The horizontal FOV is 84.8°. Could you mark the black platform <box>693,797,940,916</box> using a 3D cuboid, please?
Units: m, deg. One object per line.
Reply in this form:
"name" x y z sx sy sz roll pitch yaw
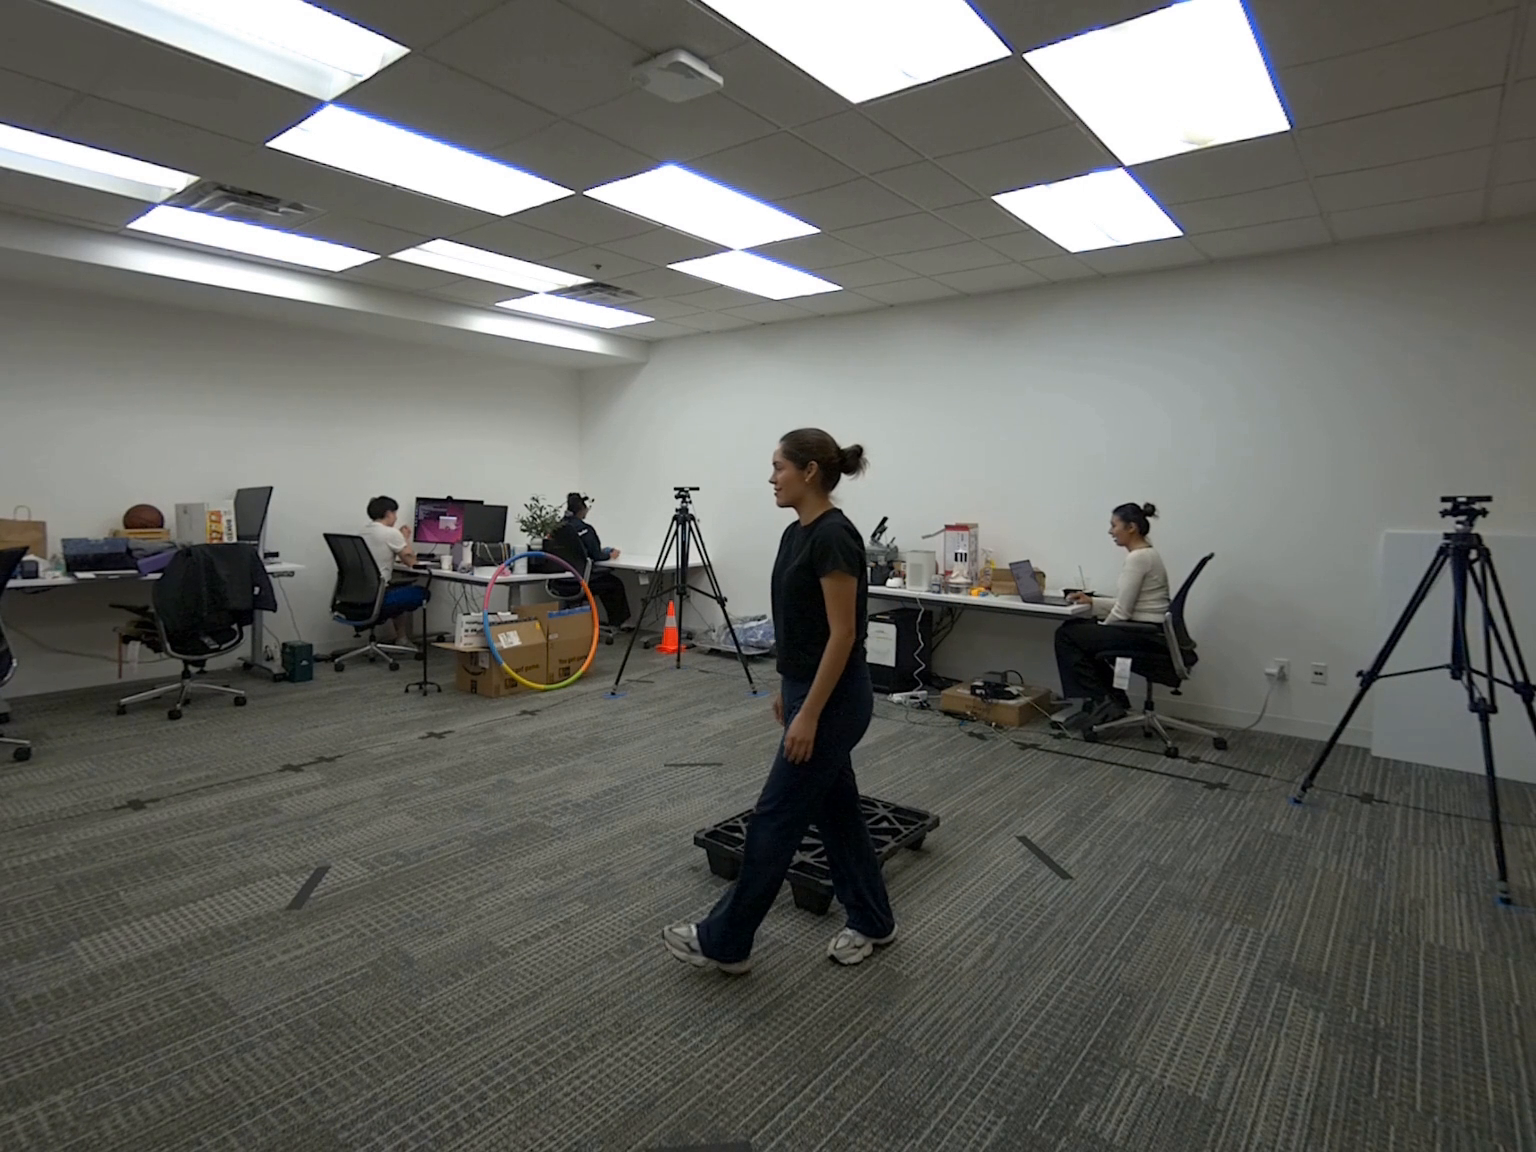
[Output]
"black platform" 0.212 0.995 3.206 0.625 0.143 0.782 5 6 39
